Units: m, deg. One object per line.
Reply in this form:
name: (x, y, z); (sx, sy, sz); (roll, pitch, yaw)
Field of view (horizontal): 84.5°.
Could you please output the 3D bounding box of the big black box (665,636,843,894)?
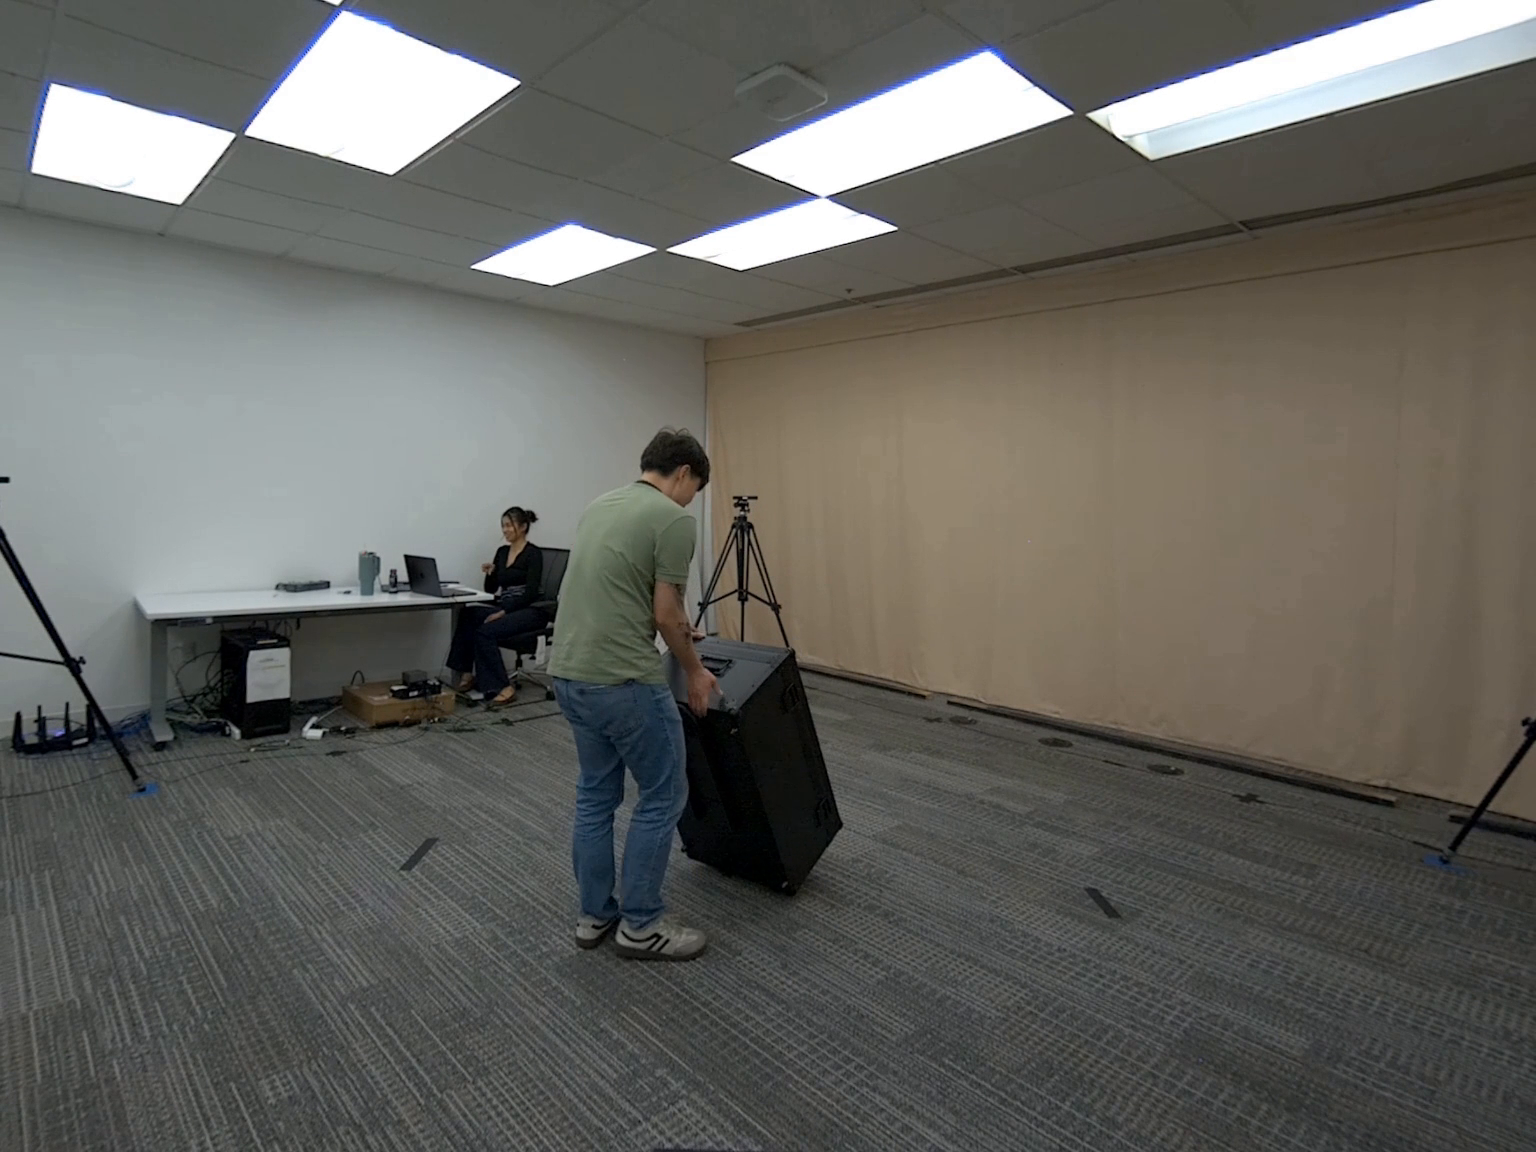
big black box: (-0.101, 0.687, 2.973); (0.534, 0.844, 0.394); (5, 31, 38)
